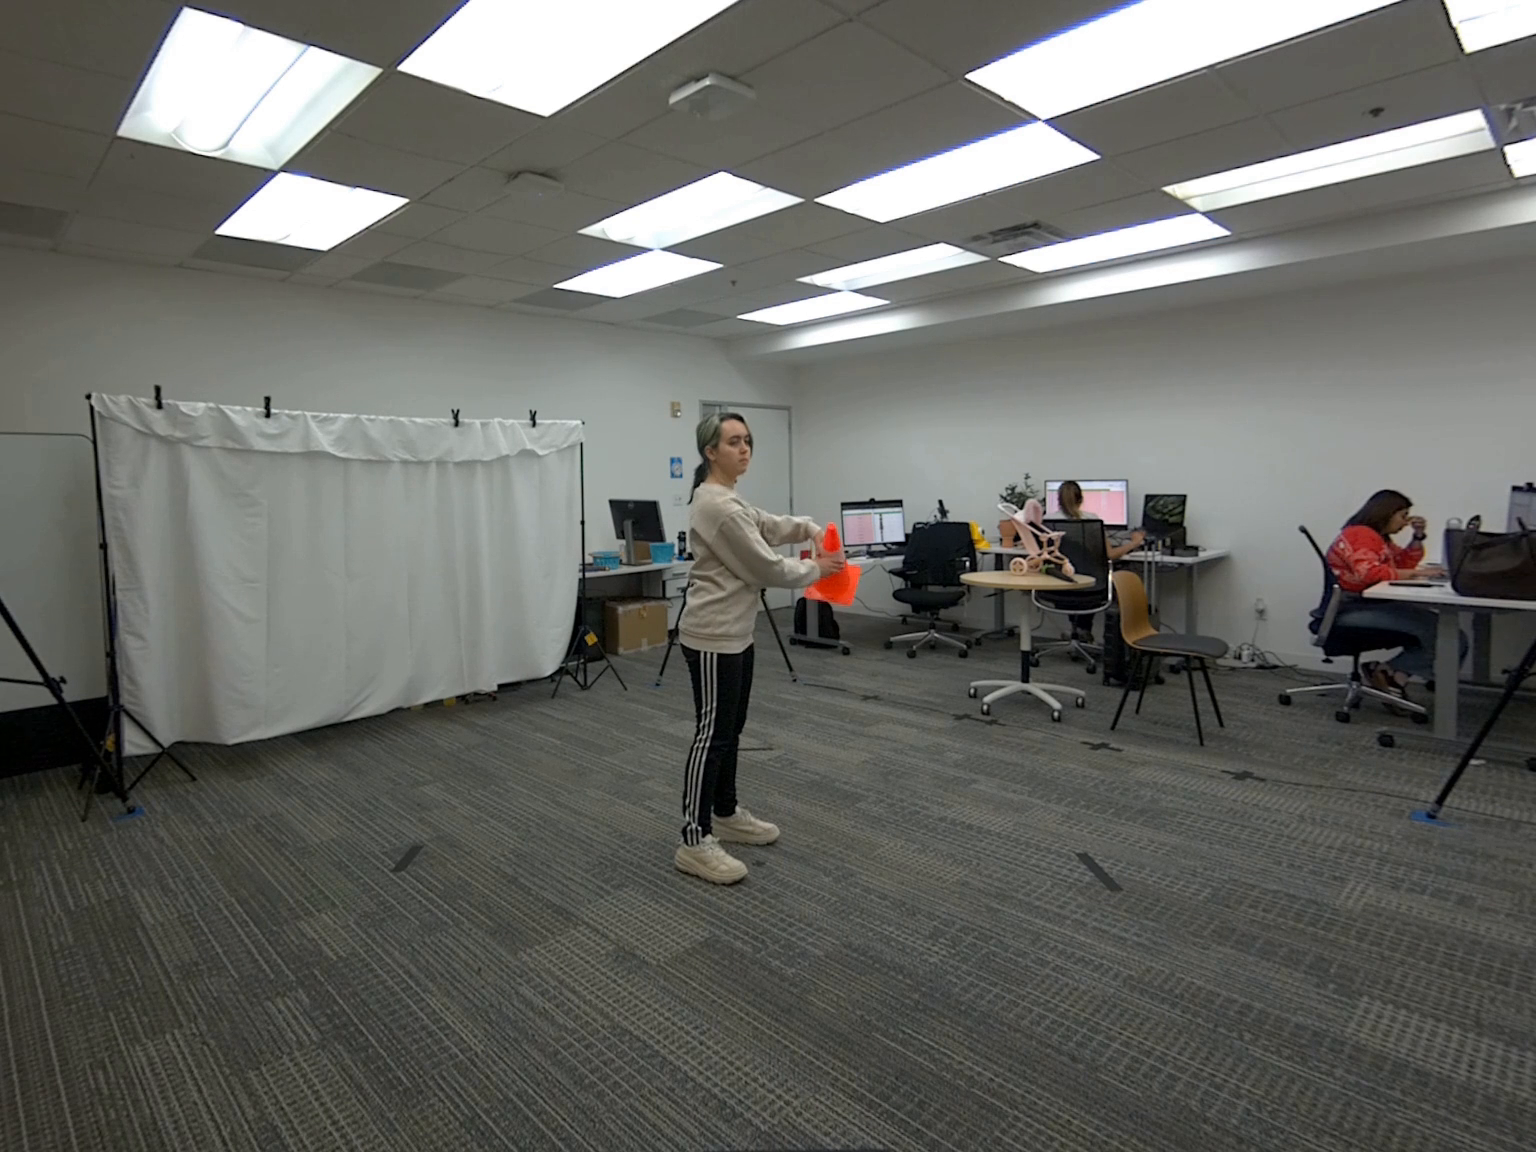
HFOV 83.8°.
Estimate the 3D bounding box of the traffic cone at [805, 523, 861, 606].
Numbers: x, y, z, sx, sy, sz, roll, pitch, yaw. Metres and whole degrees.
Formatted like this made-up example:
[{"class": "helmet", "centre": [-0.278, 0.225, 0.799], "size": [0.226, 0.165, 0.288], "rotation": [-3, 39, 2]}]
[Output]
[{"class": "traffic cone", "centre": [0.246, -0.075, 3.346], "size": [0.208, 0.207, 0.371], "rotation": [15, -32, 18]}]
